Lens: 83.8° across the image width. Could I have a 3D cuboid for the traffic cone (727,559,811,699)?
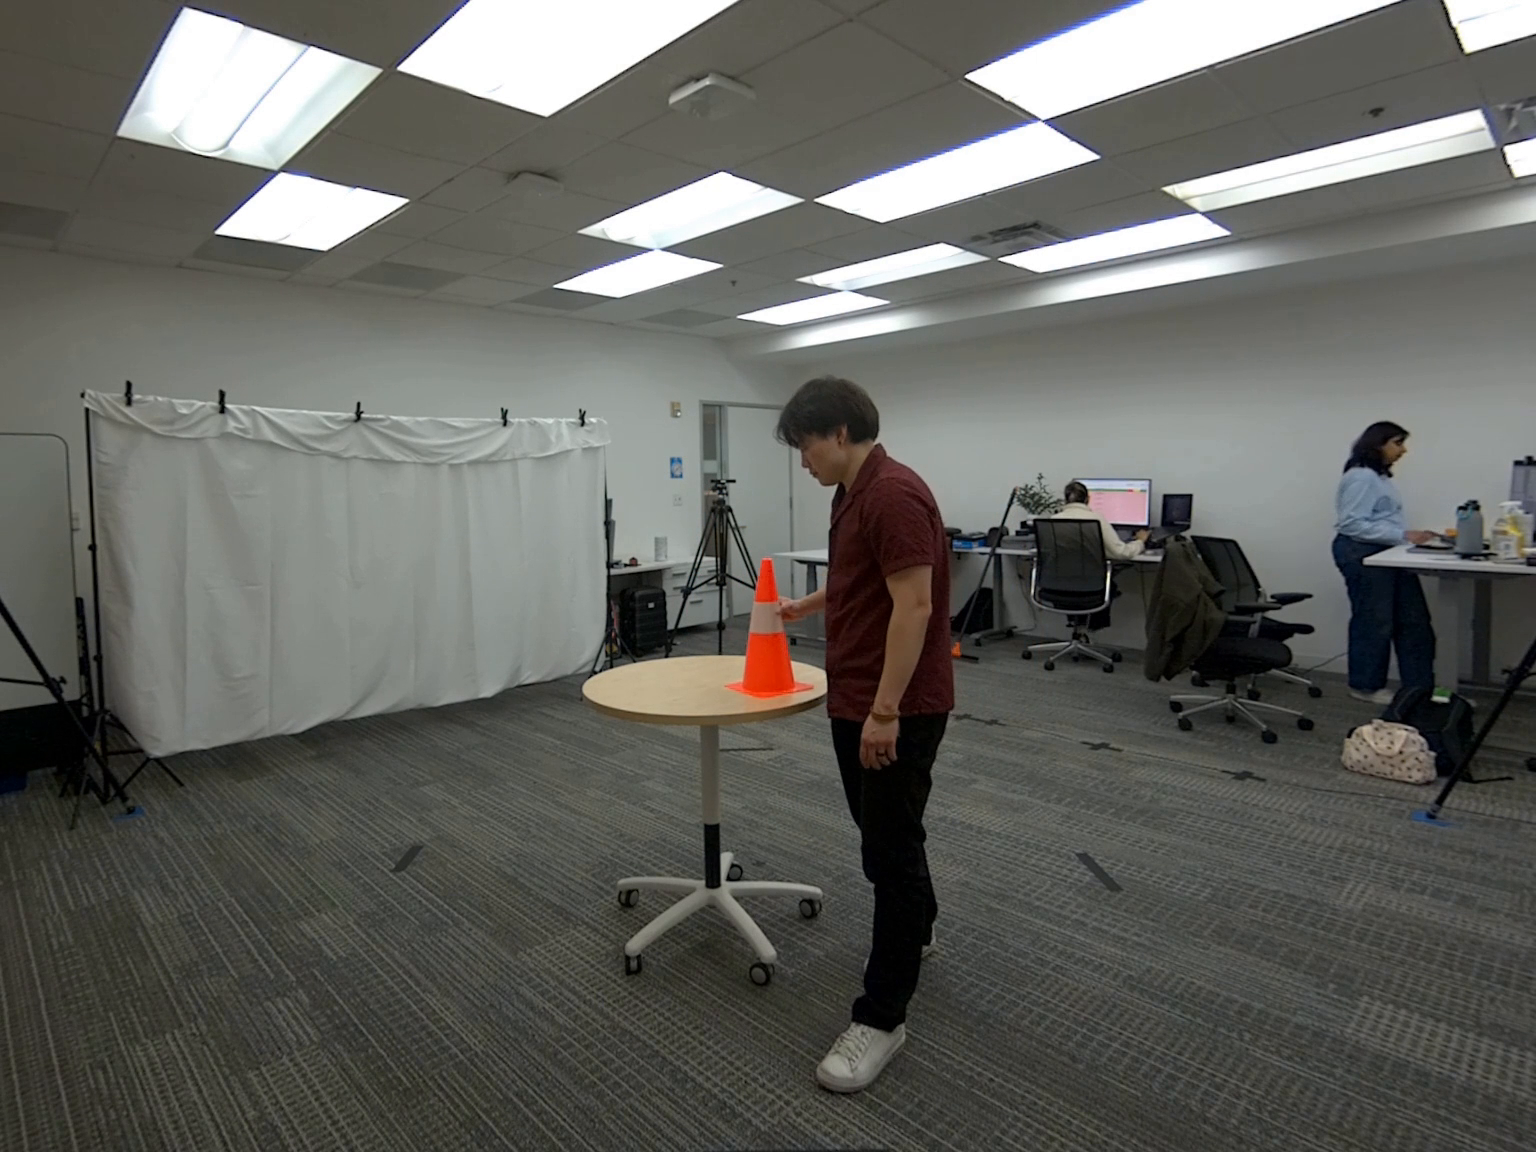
[{"bbox_3d":[-0.002,0.138,2.505,0.209,0.382,0.200,1,6,32],"label":"traffic cone"}]
